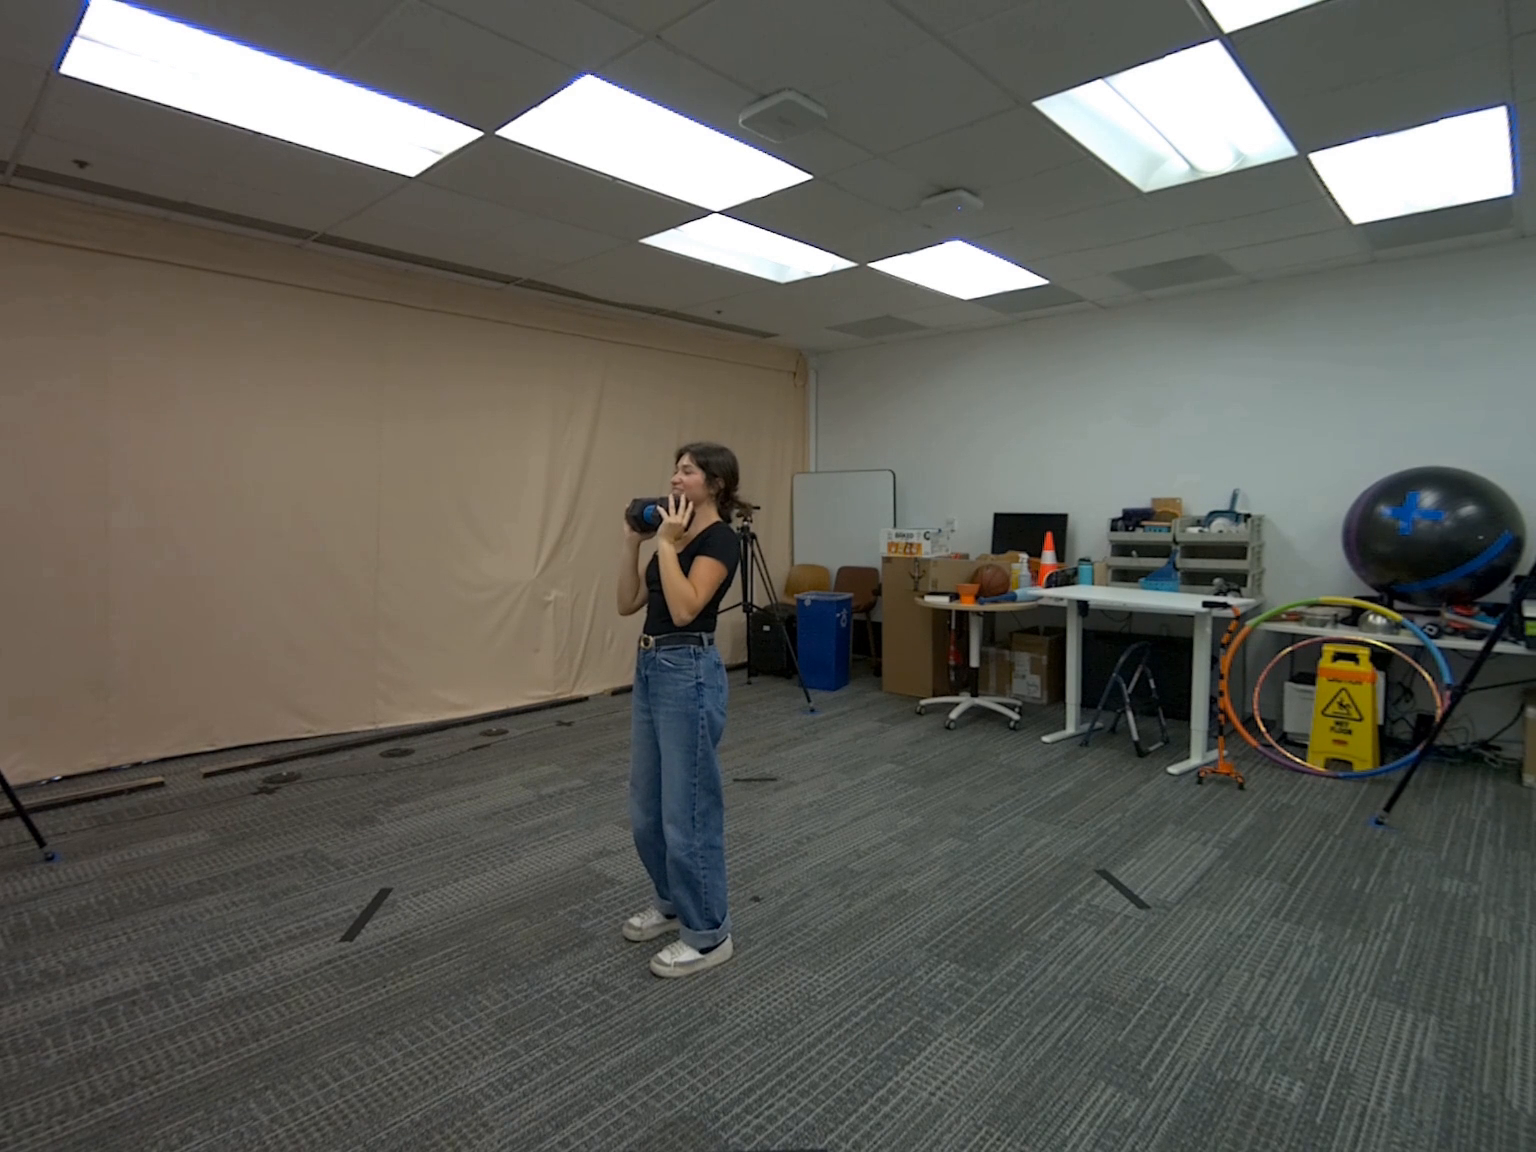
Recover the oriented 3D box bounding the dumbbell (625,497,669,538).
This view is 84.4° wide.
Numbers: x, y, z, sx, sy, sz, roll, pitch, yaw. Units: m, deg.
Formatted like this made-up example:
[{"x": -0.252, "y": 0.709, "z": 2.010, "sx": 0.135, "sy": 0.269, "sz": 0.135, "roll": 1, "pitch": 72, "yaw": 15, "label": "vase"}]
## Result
[{"x": -0.334, "y": -0.194, "z": 2.616, "sx": 0.107, "sy": 0.121, "sz": 0.302, "roll": -36, "pitch": 19, "yaw": -23, "label": "dumbbell"}]
